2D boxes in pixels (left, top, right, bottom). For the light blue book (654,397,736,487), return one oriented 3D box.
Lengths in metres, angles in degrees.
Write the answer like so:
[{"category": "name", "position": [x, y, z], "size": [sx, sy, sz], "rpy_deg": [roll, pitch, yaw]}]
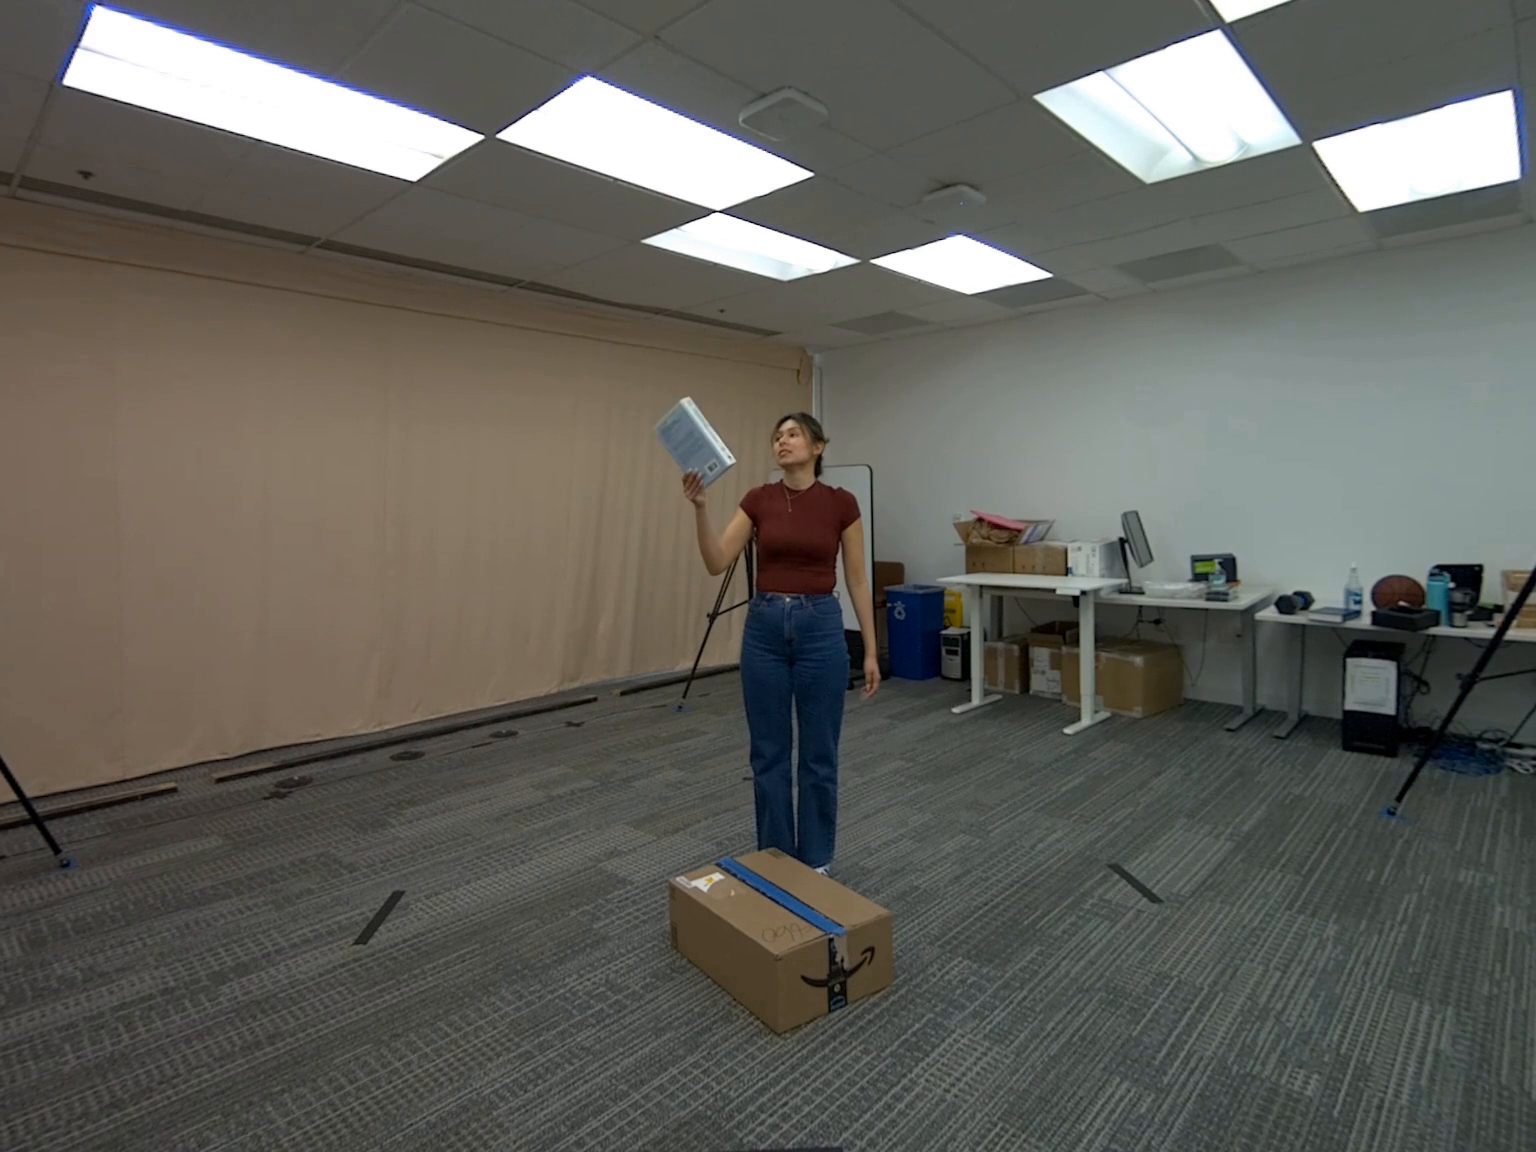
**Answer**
[{"category": "light blue book", "position": [-0.243, -0.424, 2.757], "size": [0.194, 0.261, 0.058], "rpy_deg": [-35, 0, 43]}]
